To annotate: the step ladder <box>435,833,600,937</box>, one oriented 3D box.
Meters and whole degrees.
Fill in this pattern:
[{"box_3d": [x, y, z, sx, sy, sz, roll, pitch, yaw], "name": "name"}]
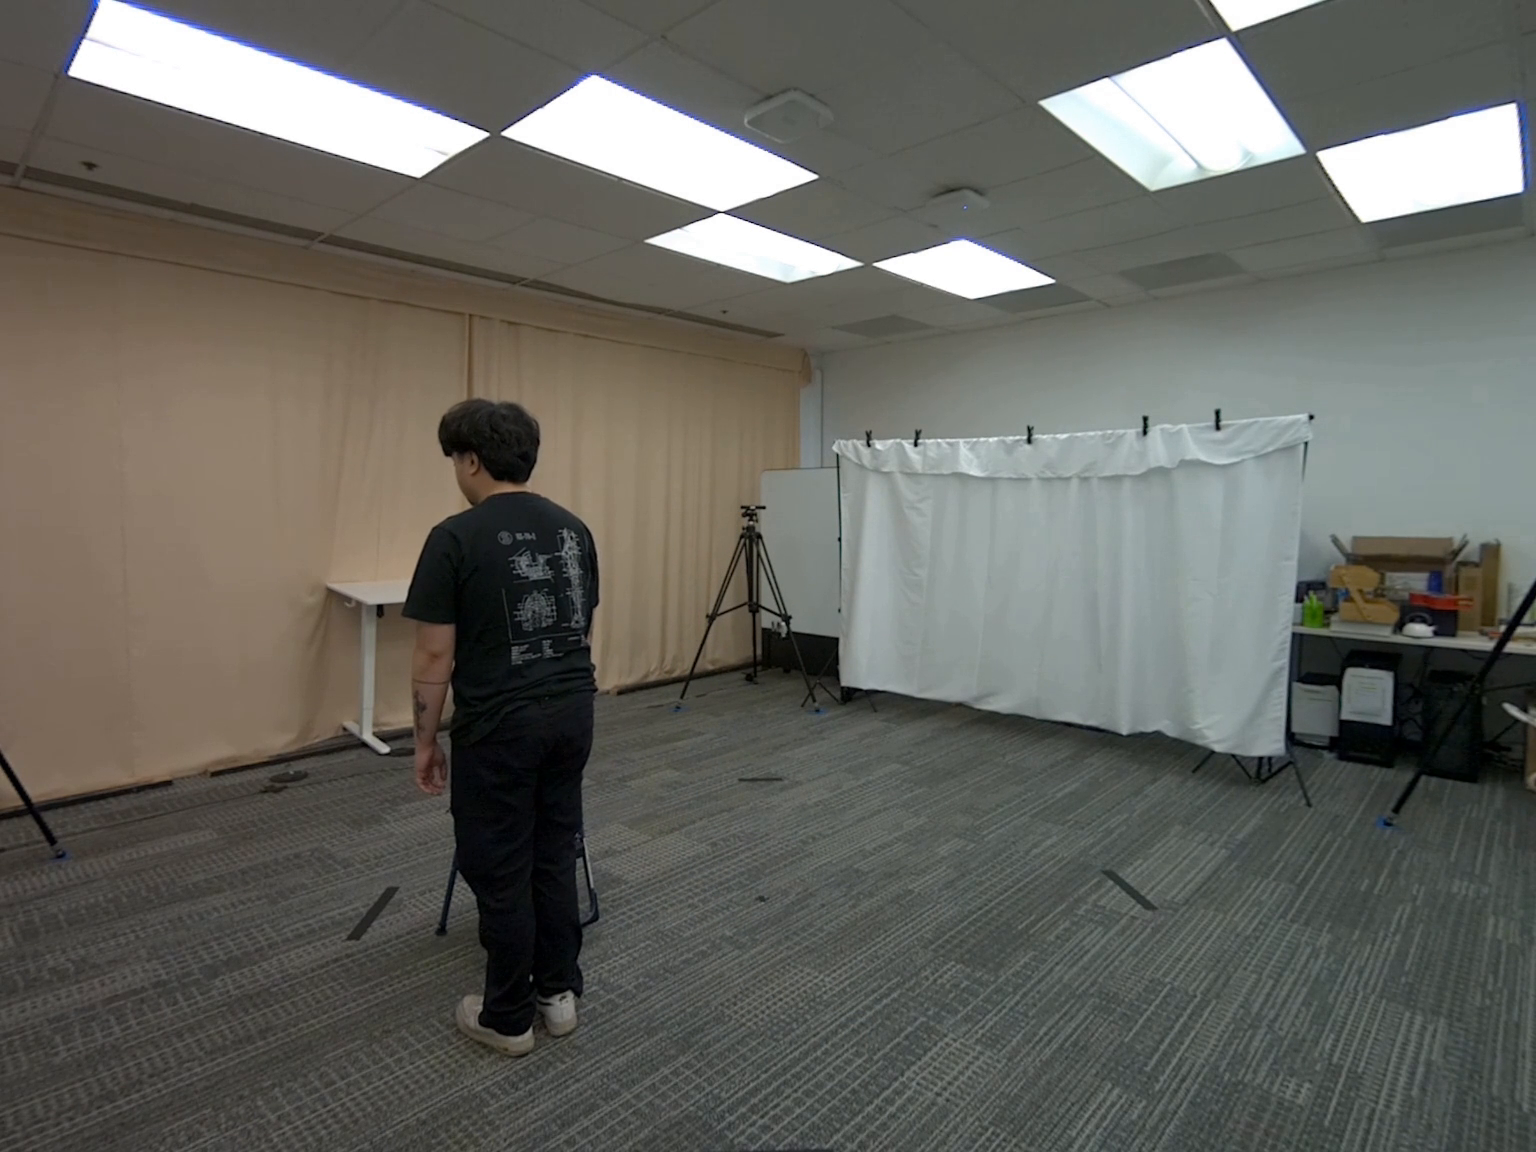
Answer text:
[{"box_3d": [-0.838, 0.867, 2.787, 0.360, 0.605, 0.418, 1, 4, 40], "name": "step ladder"}]
